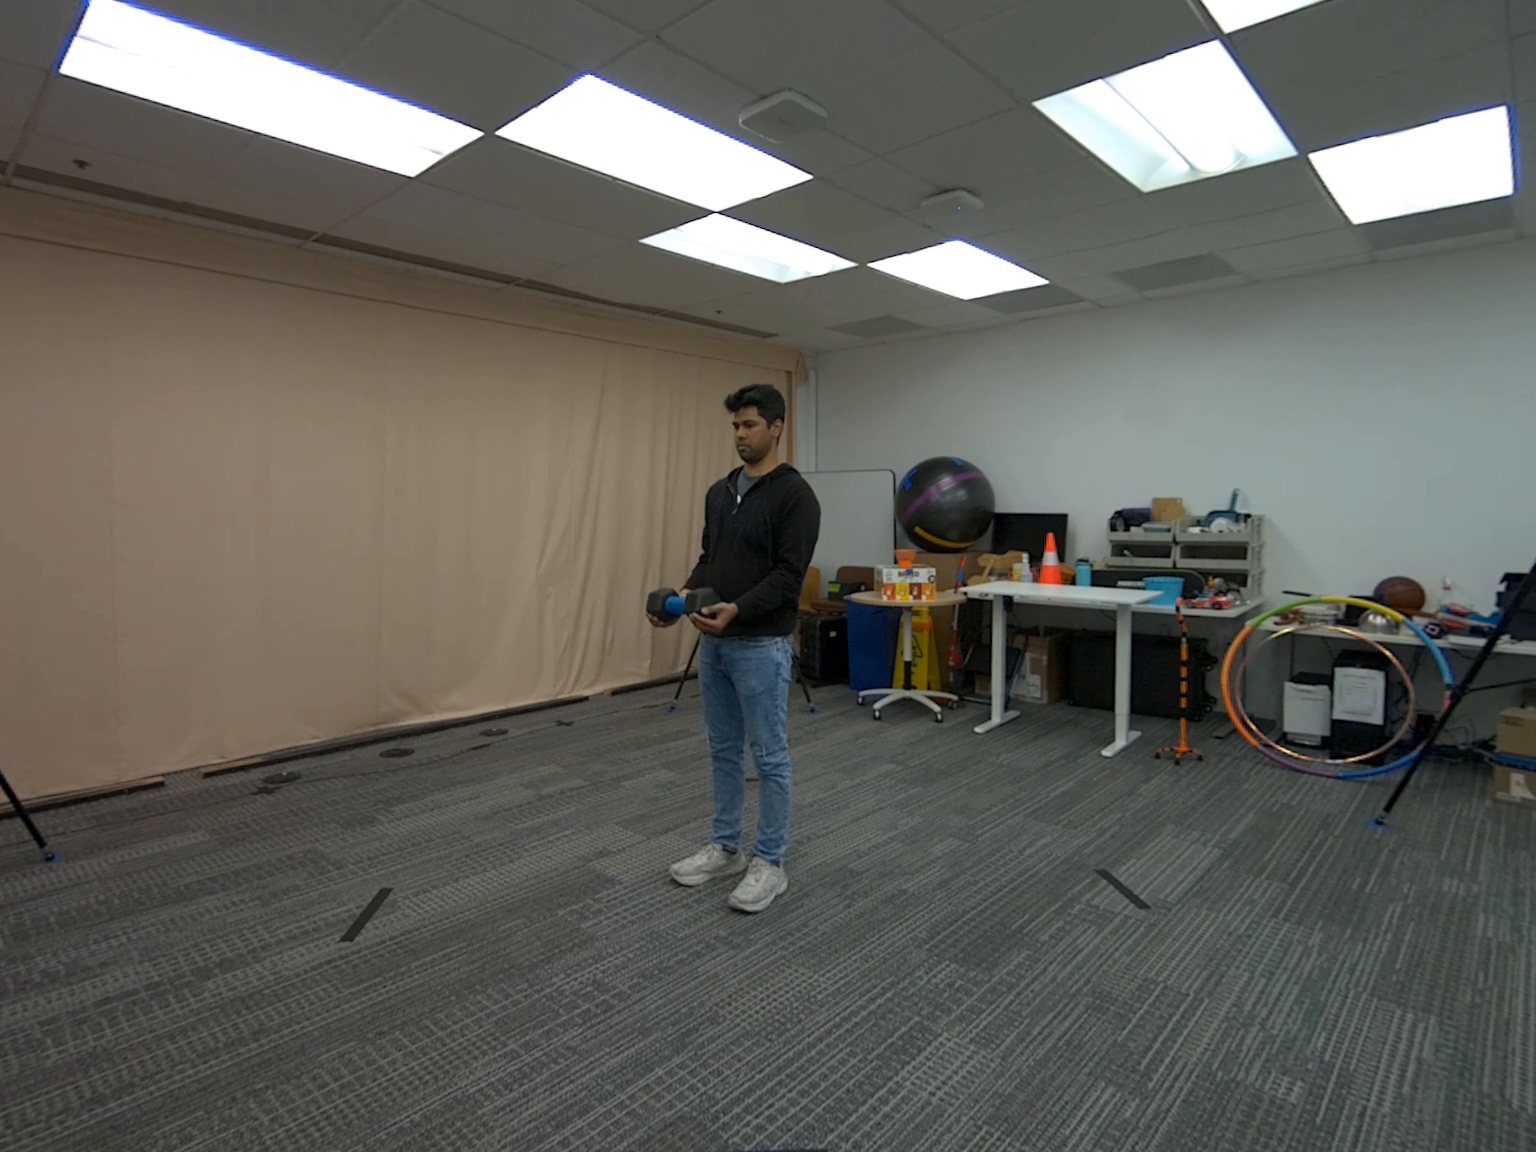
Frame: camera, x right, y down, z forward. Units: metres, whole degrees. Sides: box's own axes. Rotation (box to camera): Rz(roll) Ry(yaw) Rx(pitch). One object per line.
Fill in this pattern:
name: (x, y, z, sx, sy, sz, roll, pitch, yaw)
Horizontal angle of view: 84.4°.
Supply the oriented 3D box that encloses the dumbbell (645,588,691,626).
dumbbell: (-0.278, 0.093, 2.851, 0.105, 0.123, 0.303, 23, -15, -40)
